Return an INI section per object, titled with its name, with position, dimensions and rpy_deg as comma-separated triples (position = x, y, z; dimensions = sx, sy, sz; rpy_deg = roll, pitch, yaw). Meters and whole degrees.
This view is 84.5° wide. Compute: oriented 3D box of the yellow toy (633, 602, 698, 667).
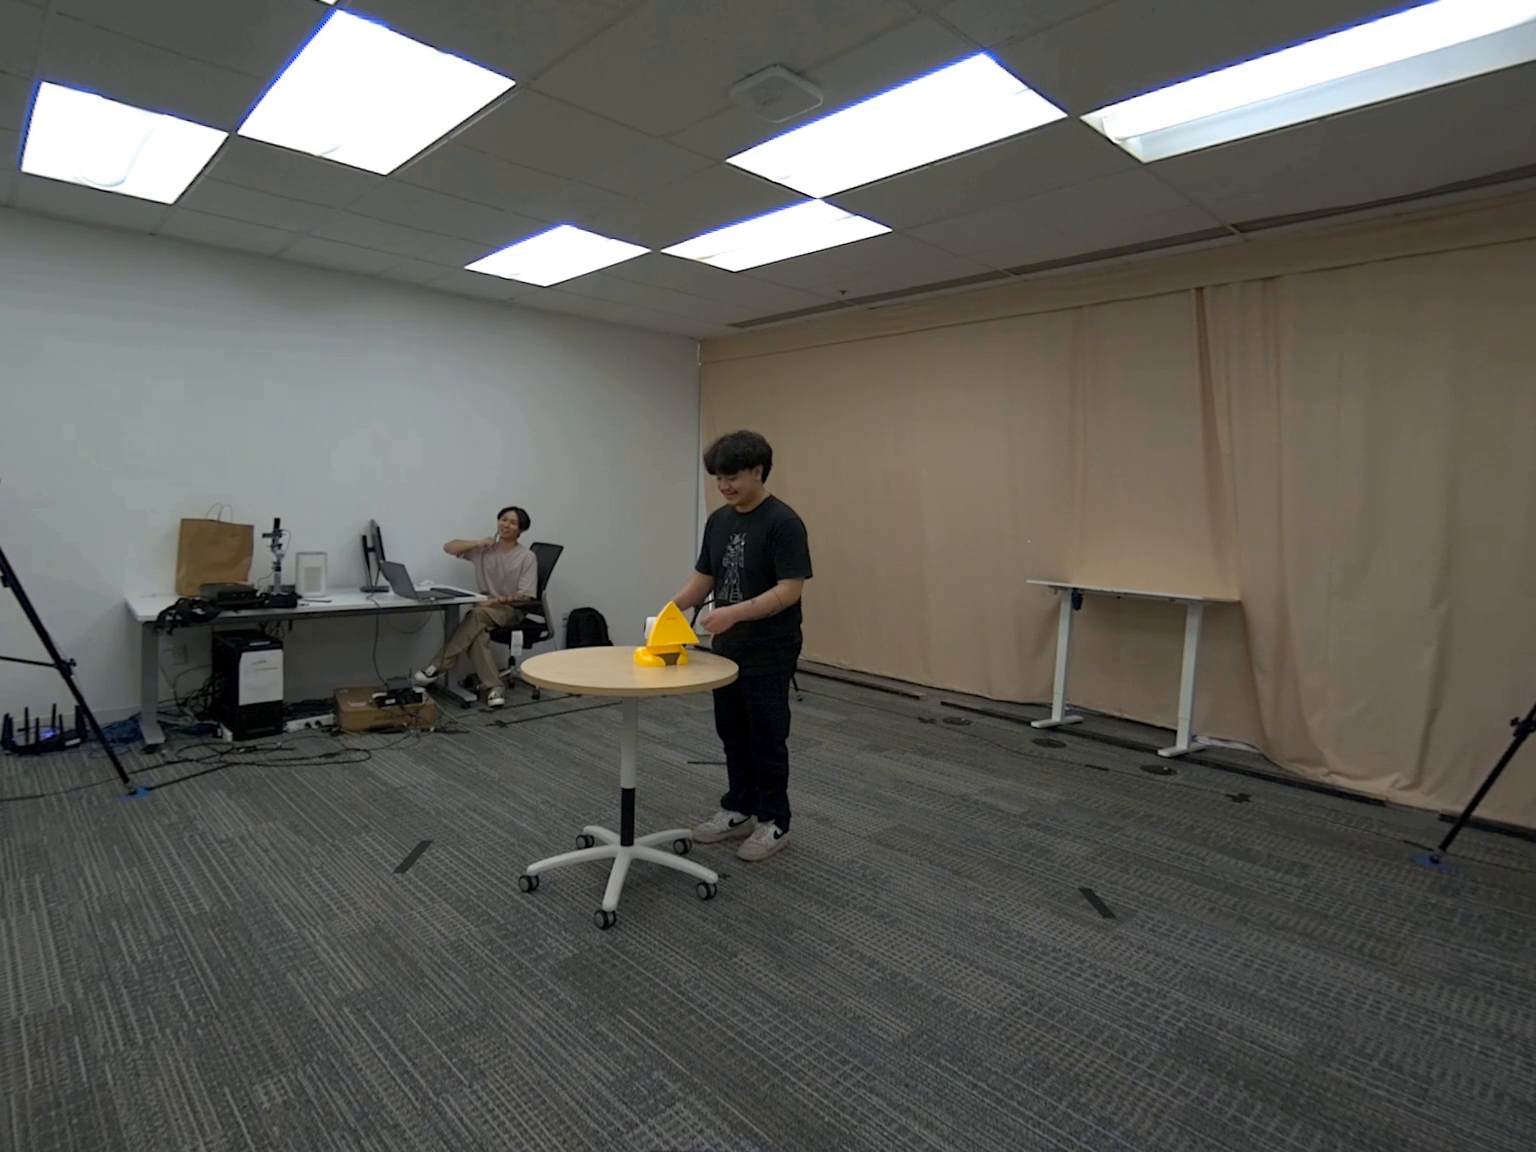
[yellow toy]
position = -0.395, 0.203, 3.060
dimensions = 0.200, 0.230, 0.197
rpy_deg = -1, 3, -35
